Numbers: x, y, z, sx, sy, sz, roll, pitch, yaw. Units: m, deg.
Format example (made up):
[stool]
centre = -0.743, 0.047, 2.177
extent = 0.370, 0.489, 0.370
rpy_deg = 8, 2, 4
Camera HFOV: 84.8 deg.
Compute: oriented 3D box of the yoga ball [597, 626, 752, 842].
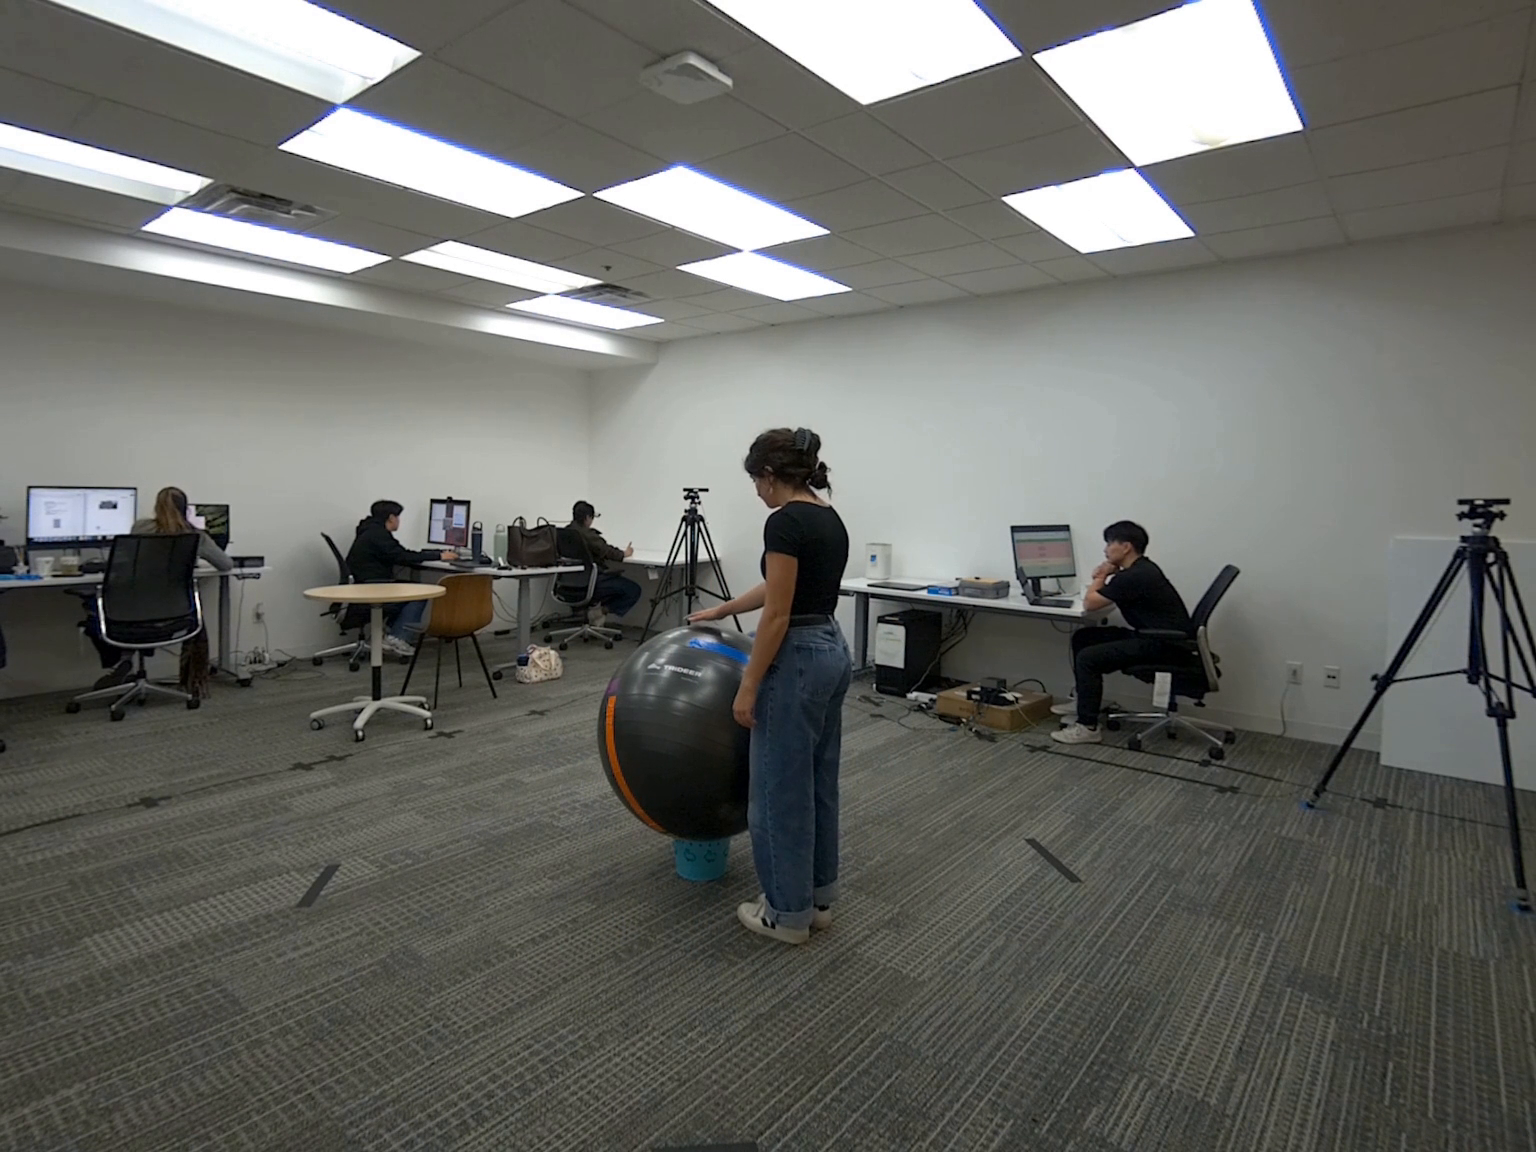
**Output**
[yoga ball]
centre = -0.246, 0.558, 3.088
extent = 0.757, 0.756, 0.762
rpy_deg = 1, 4, -2
